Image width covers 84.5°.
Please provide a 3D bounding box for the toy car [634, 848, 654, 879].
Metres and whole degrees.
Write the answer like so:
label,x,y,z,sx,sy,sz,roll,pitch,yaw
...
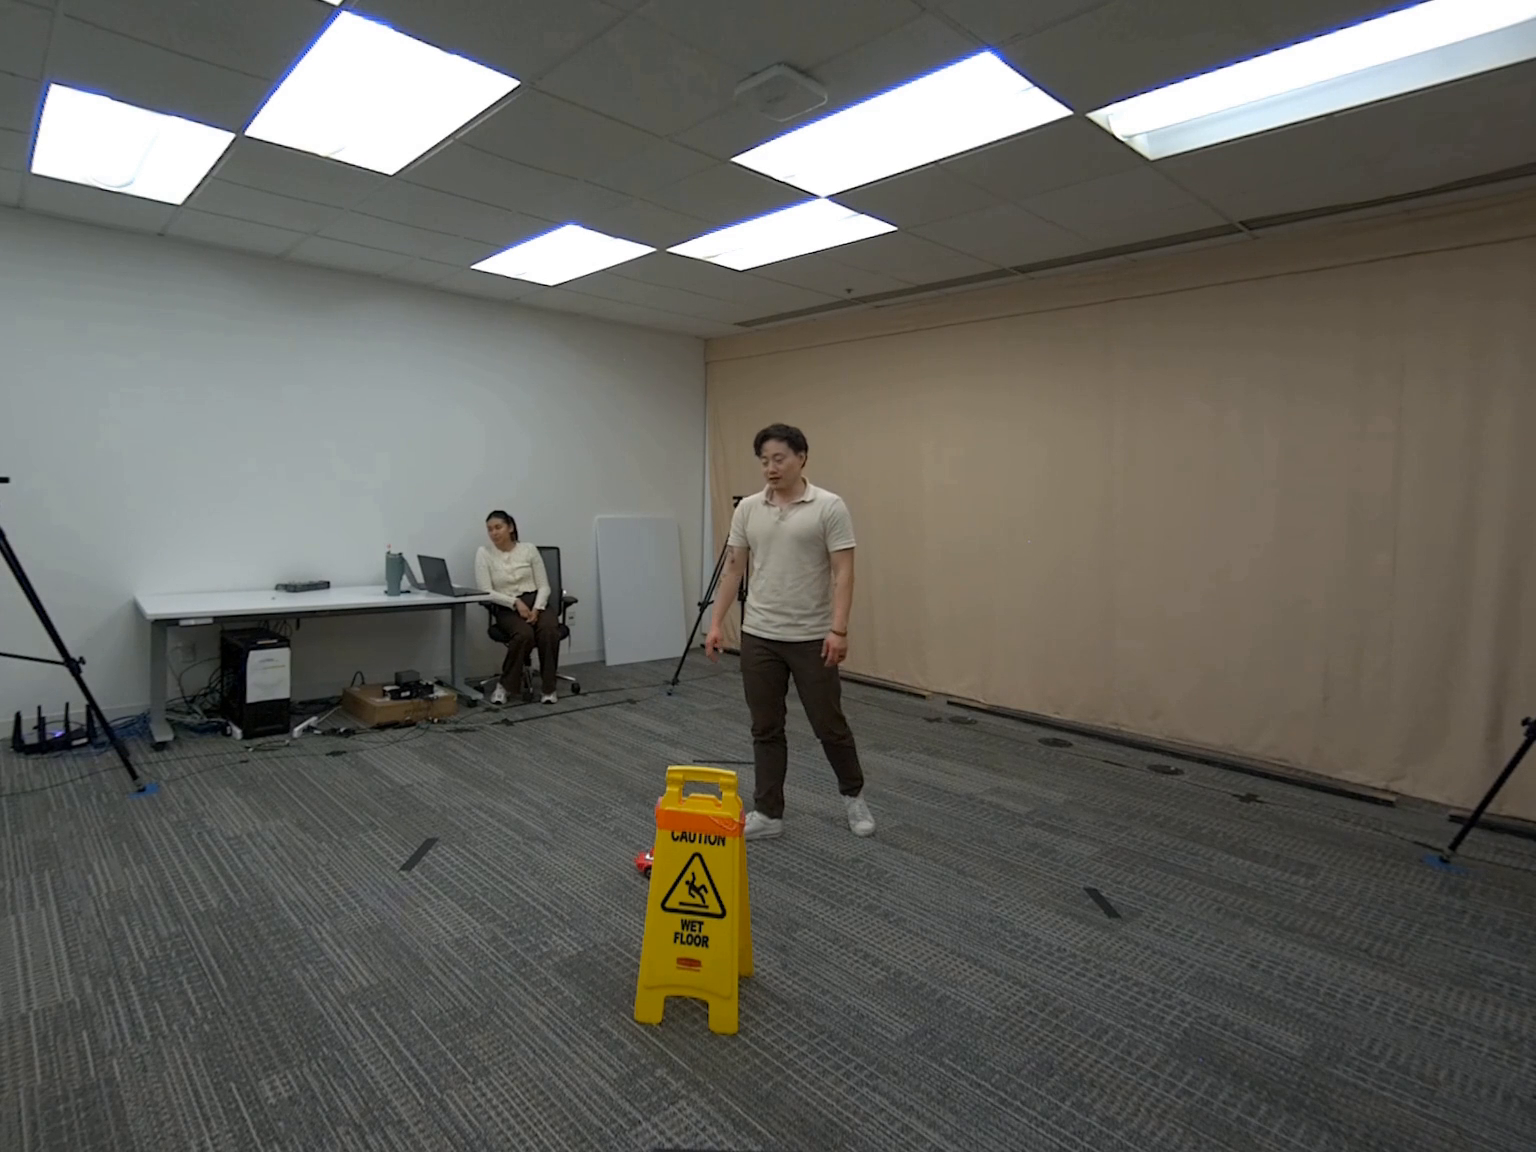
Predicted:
label,x,y,z,sx,sy,sz,roll,pitch,yaw
toy car,-0.378,1.068,3.096,0.258,0.083,0.129,14,7,13
